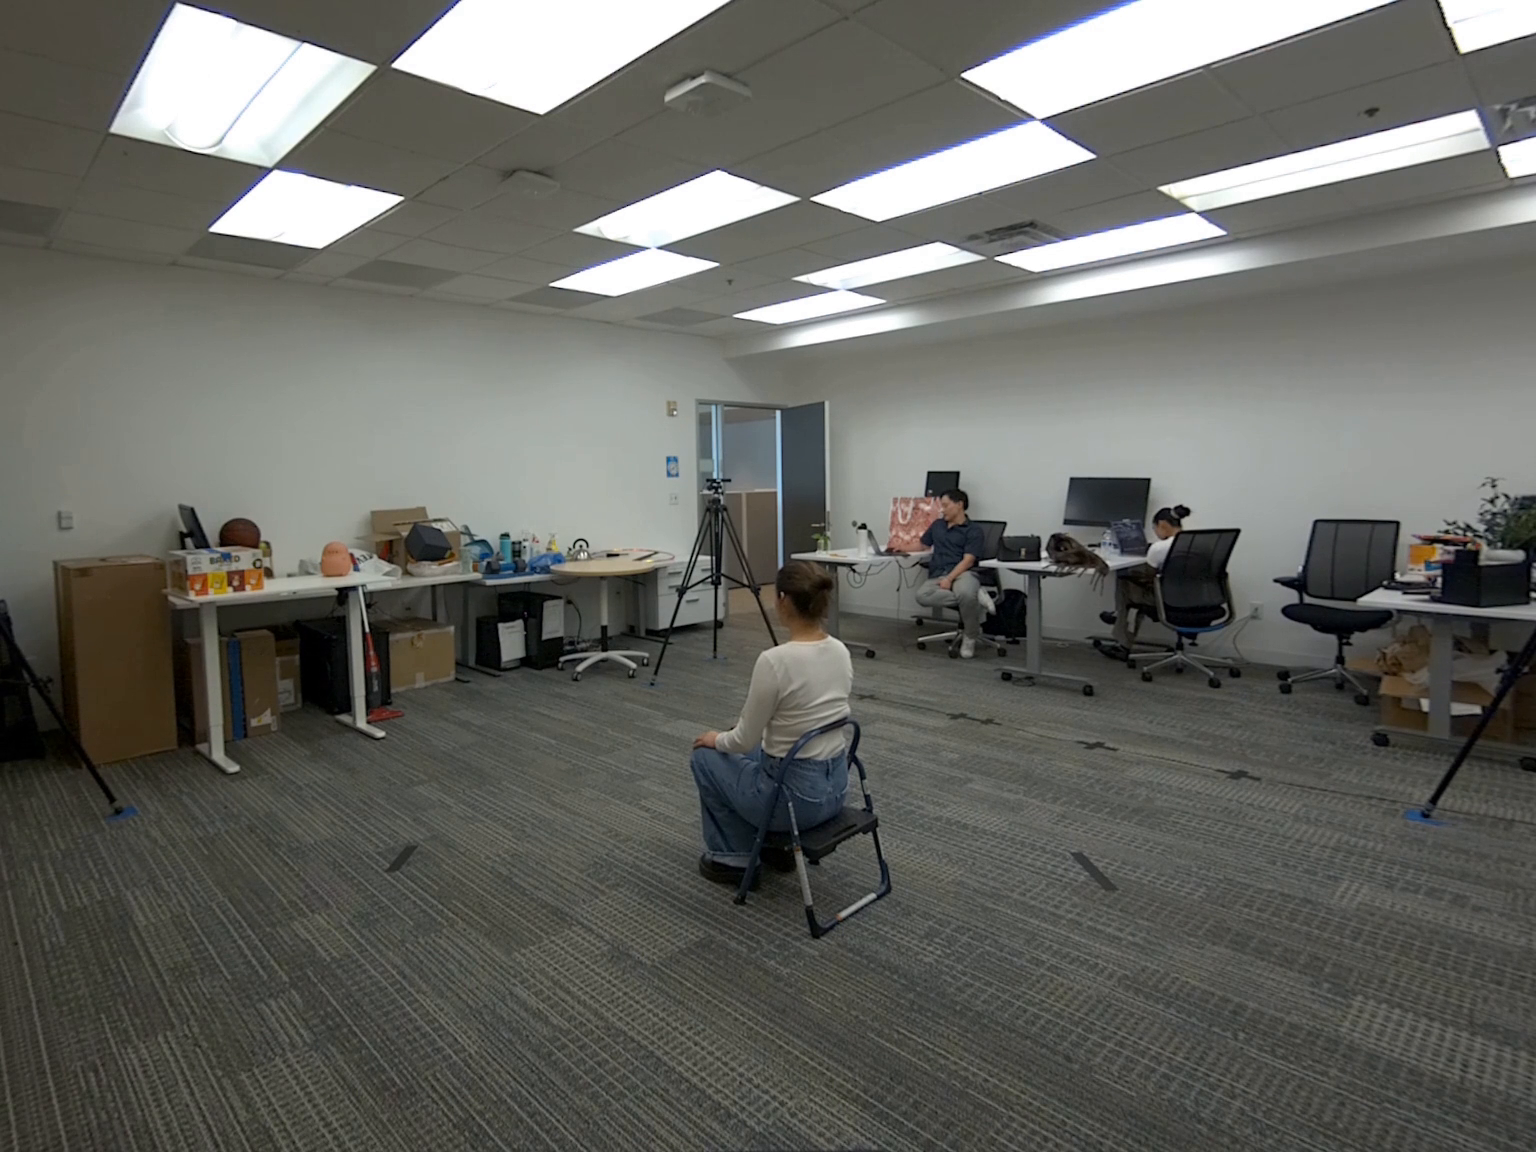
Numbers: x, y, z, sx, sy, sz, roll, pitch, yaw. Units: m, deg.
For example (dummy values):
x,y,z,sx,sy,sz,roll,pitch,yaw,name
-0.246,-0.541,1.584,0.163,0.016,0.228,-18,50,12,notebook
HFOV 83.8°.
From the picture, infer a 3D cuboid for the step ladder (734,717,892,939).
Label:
x,y,z,sx,sy,sz,roll,pitch,yaw,name
0.153,0.768,2.827,0.360,0.604,0.419,3,6,42,step ladder
